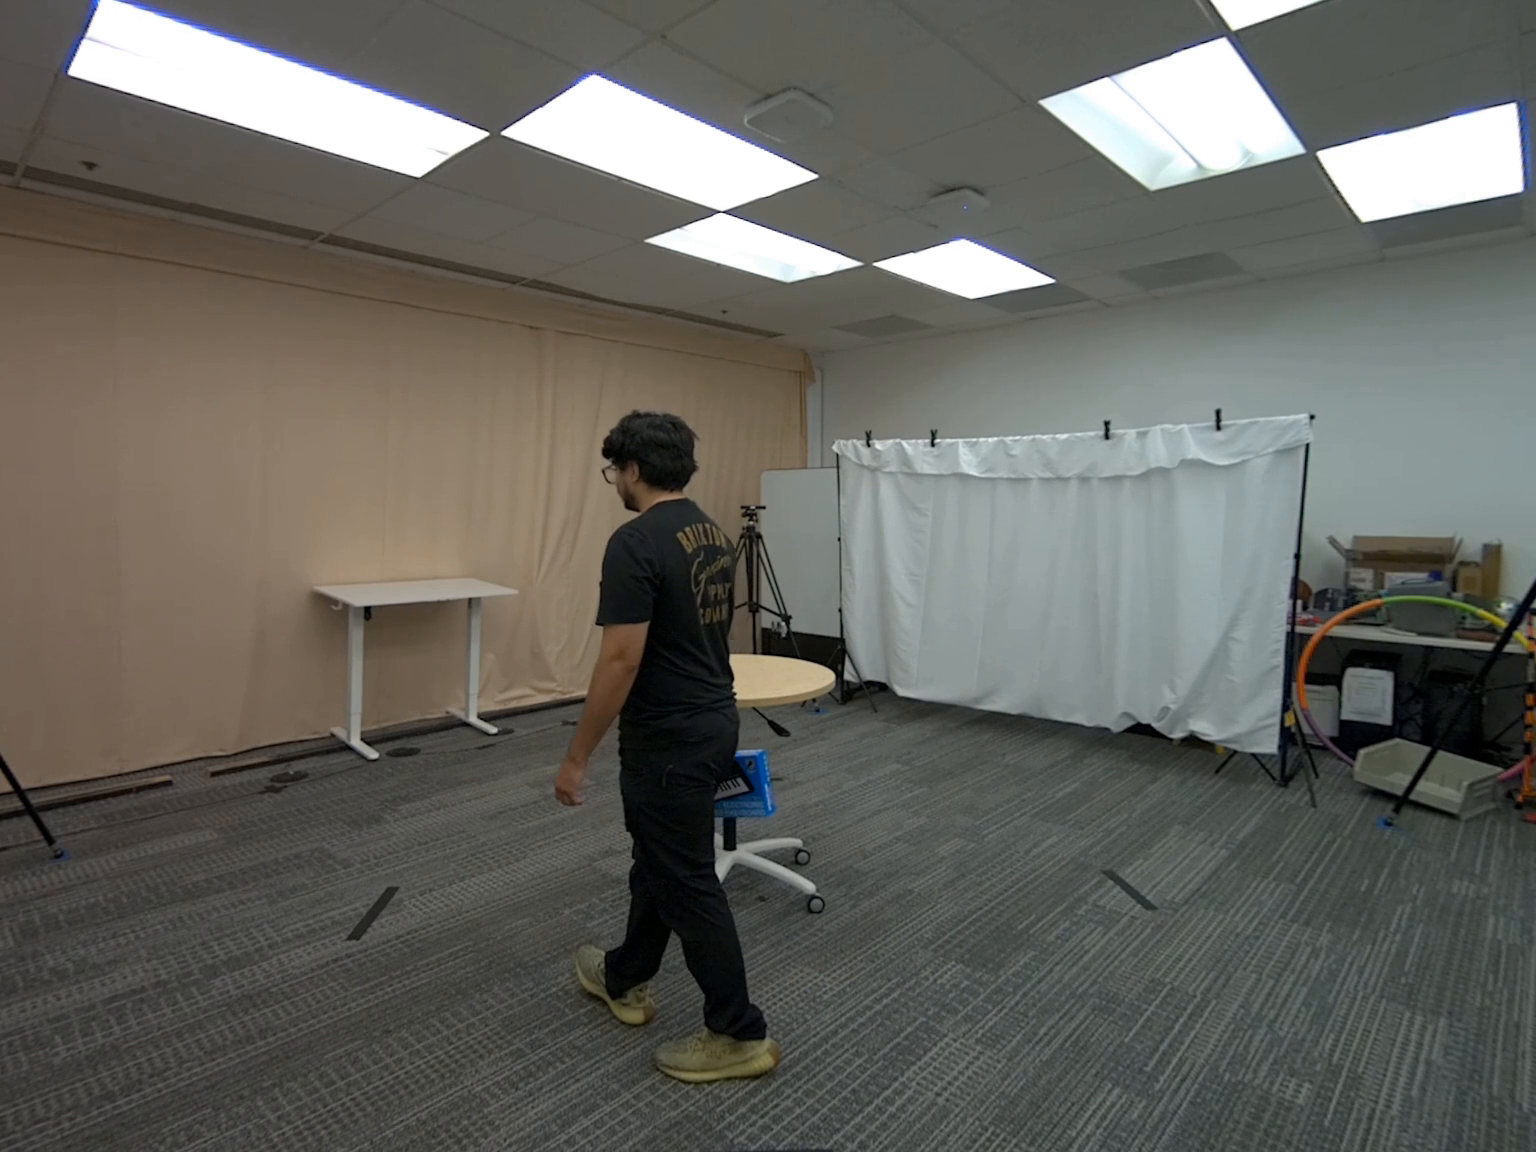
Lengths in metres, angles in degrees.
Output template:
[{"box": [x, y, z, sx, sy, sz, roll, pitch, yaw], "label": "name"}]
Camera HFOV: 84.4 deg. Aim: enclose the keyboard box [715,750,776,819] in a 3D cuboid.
[{"box": [-0.203, 0.596, 2.425, 0.447, 0.176, 0.058, -10, -1, 27], "label": "keyboard box"}]
